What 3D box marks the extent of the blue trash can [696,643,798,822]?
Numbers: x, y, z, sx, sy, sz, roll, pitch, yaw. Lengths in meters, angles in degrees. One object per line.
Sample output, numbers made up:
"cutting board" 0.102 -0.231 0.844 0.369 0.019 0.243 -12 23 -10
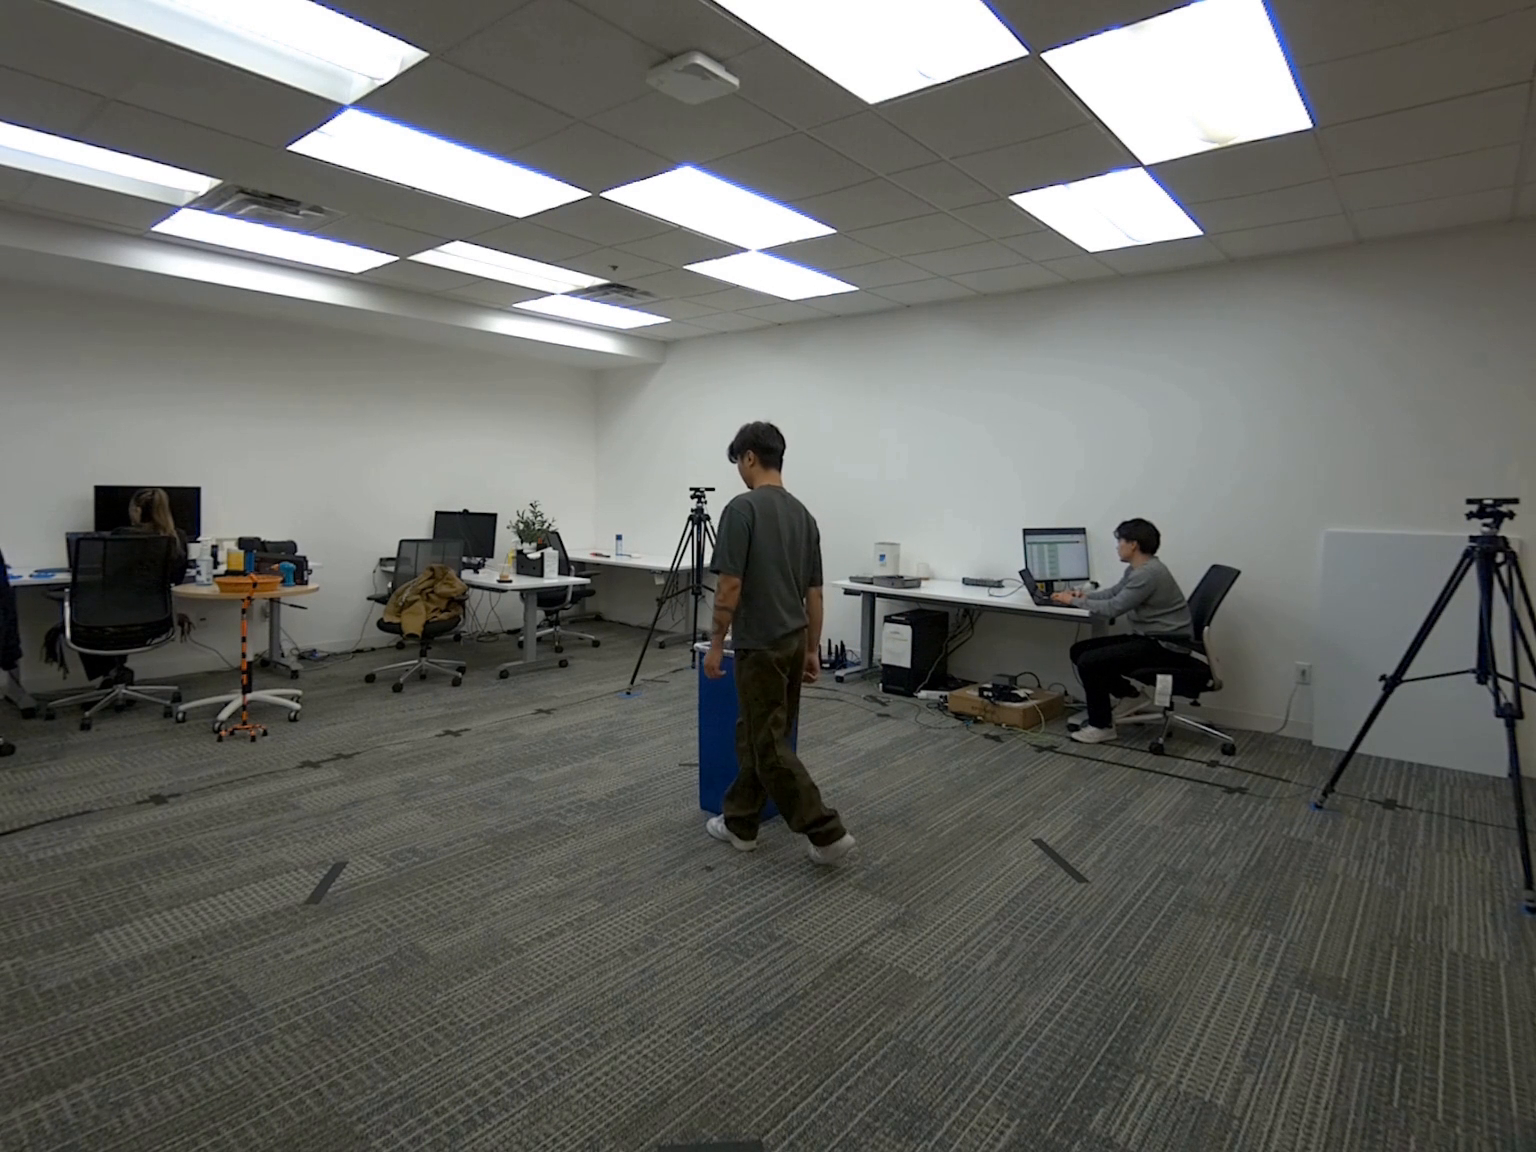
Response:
"blue trash can" -0.100 0.653 3.709 0.386 0.712 0.367 4 3 35
